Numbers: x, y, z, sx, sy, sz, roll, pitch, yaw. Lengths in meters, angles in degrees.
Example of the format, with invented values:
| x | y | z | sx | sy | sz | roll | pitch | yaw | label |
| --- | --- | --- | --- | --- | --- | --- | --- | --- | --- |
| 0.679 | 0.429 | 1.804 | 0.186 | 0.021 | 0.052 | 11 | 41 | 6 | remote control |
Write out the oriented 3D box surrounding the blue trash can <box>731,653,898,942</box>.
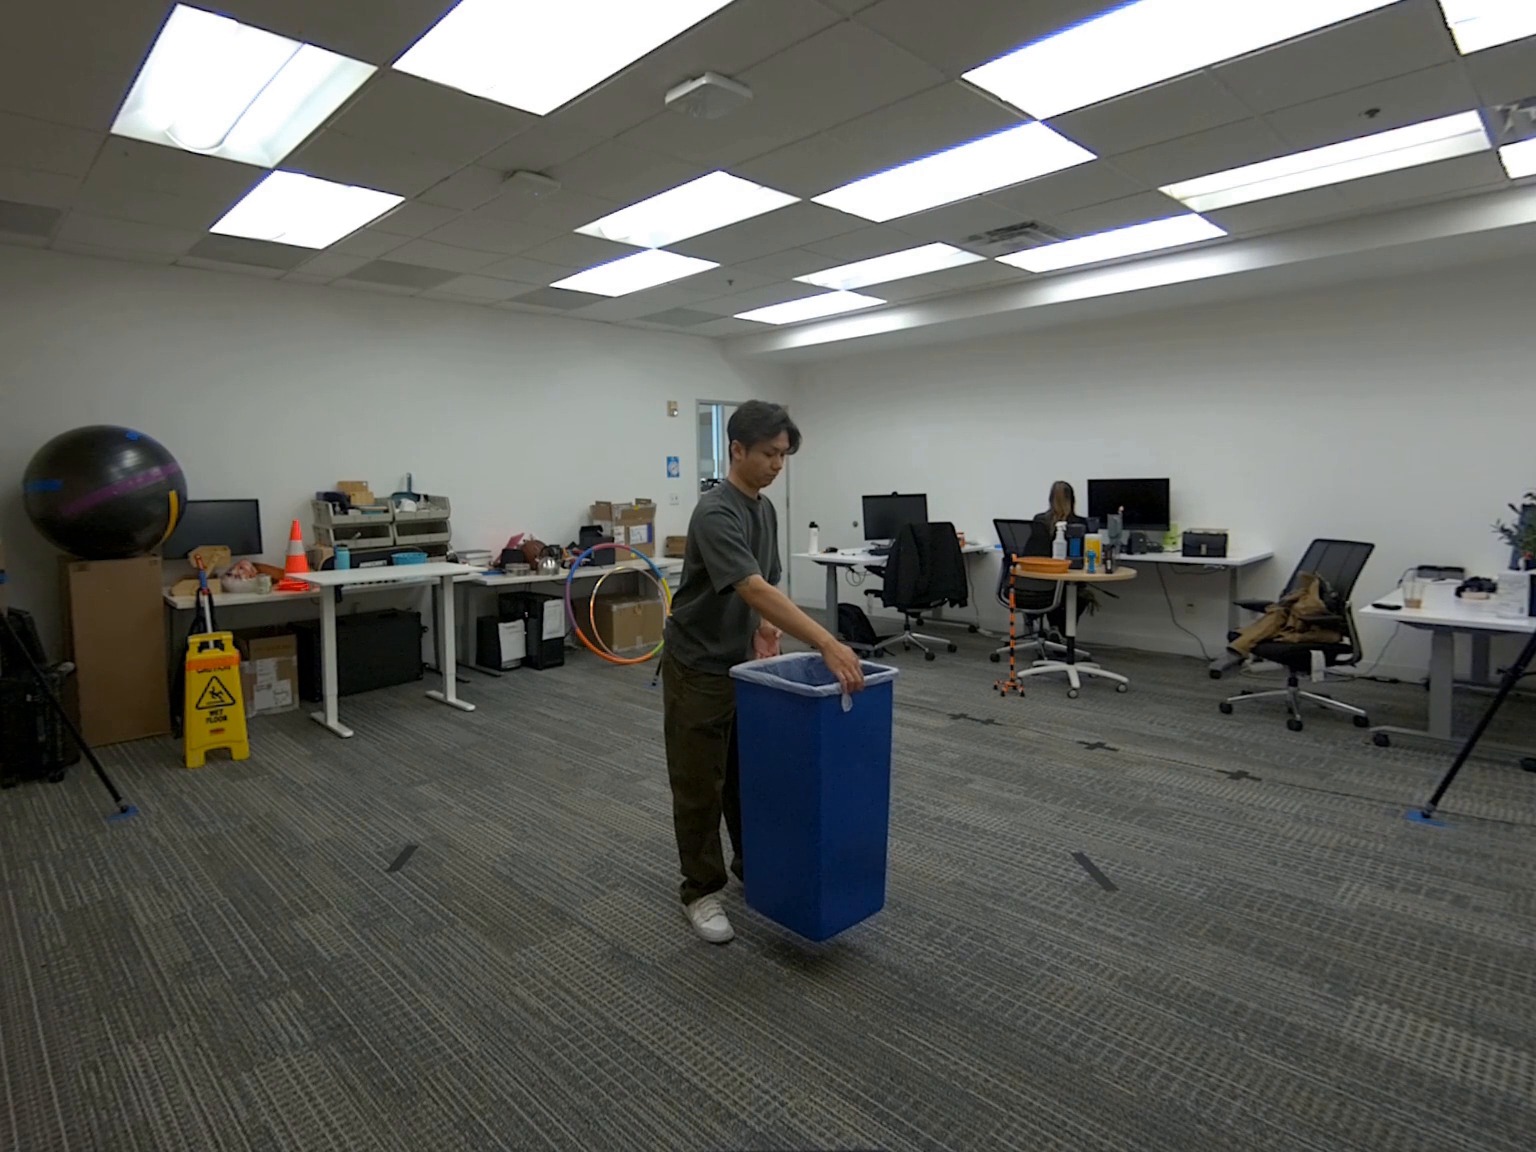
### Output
| x | y | z | sx | sy | sz | roll | pitch | yaw | label |
| --- | --- | --- | --- | --- | --- | --- | --- | --- | --- |
| 0.131 | 0.625 | 2.515 | 0.368 | 0.711 | 0.386 | -3 | 6 | -43 | blue trash can |
